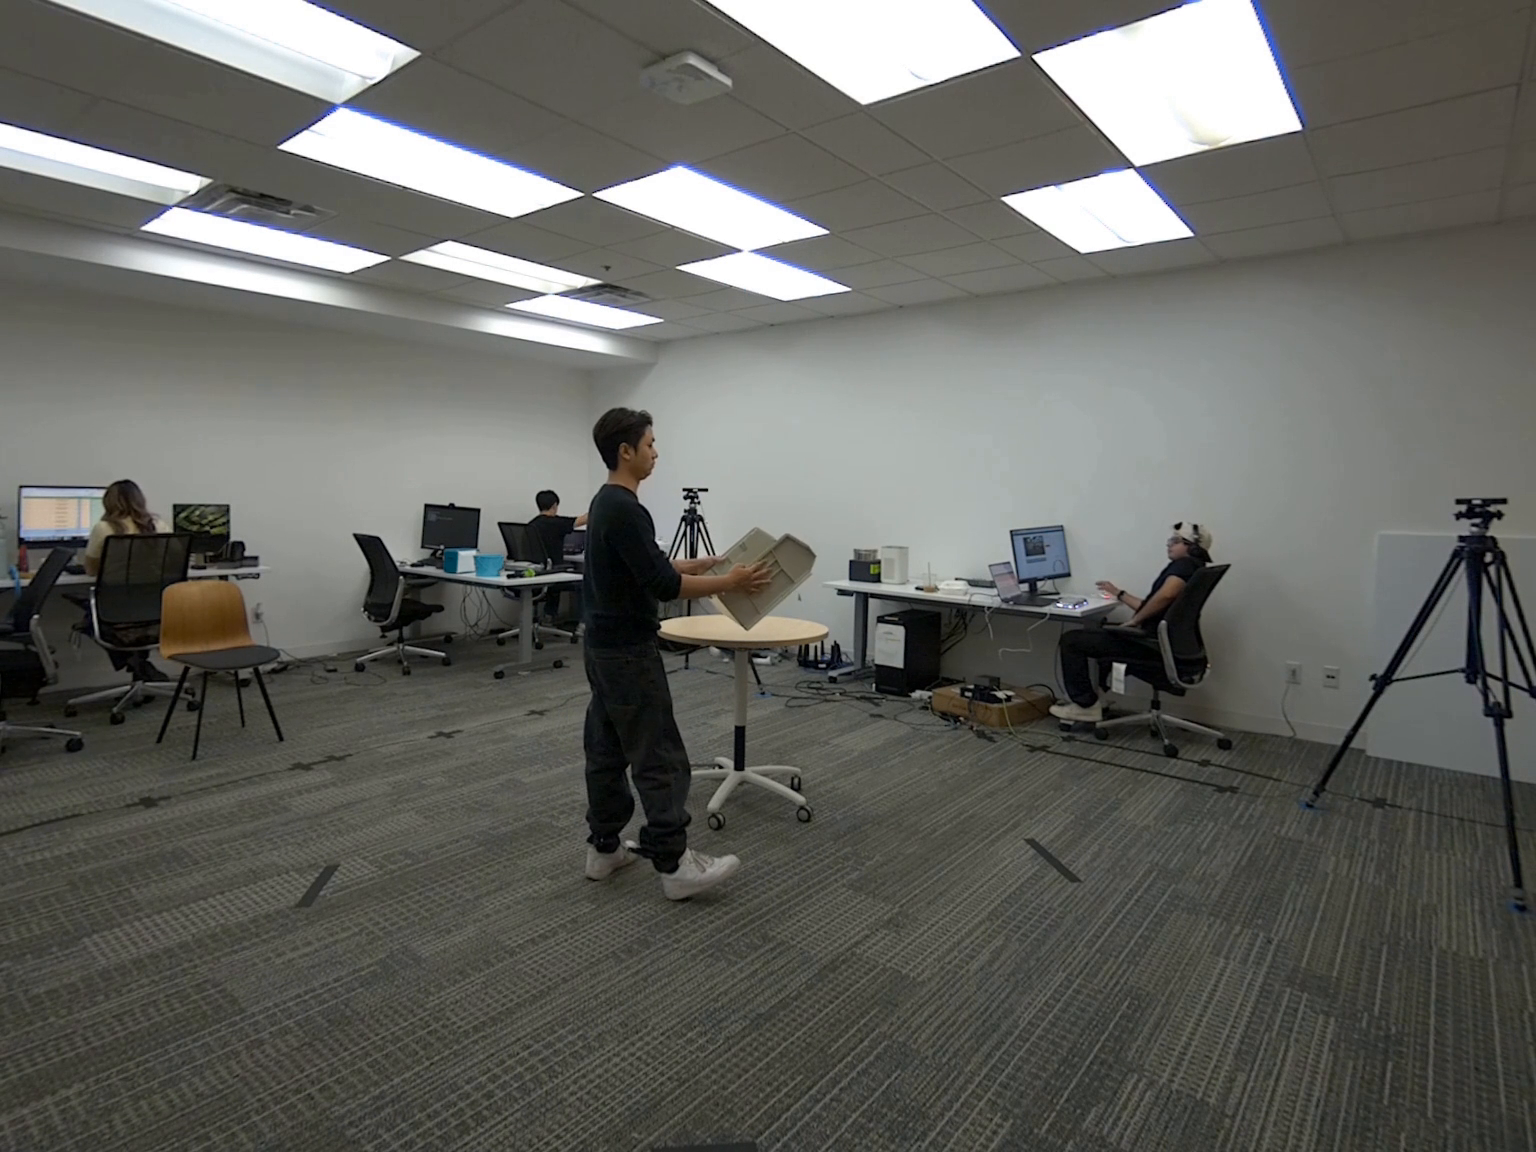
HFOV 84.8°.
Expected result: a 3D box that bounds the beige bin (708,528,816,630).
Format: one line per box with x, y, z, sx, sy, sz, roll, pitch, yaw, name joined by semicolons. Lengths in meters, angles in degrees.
-0.057;-0.011;3.203;0.377;0.185;0.431;-42;15;-8;beige bin
